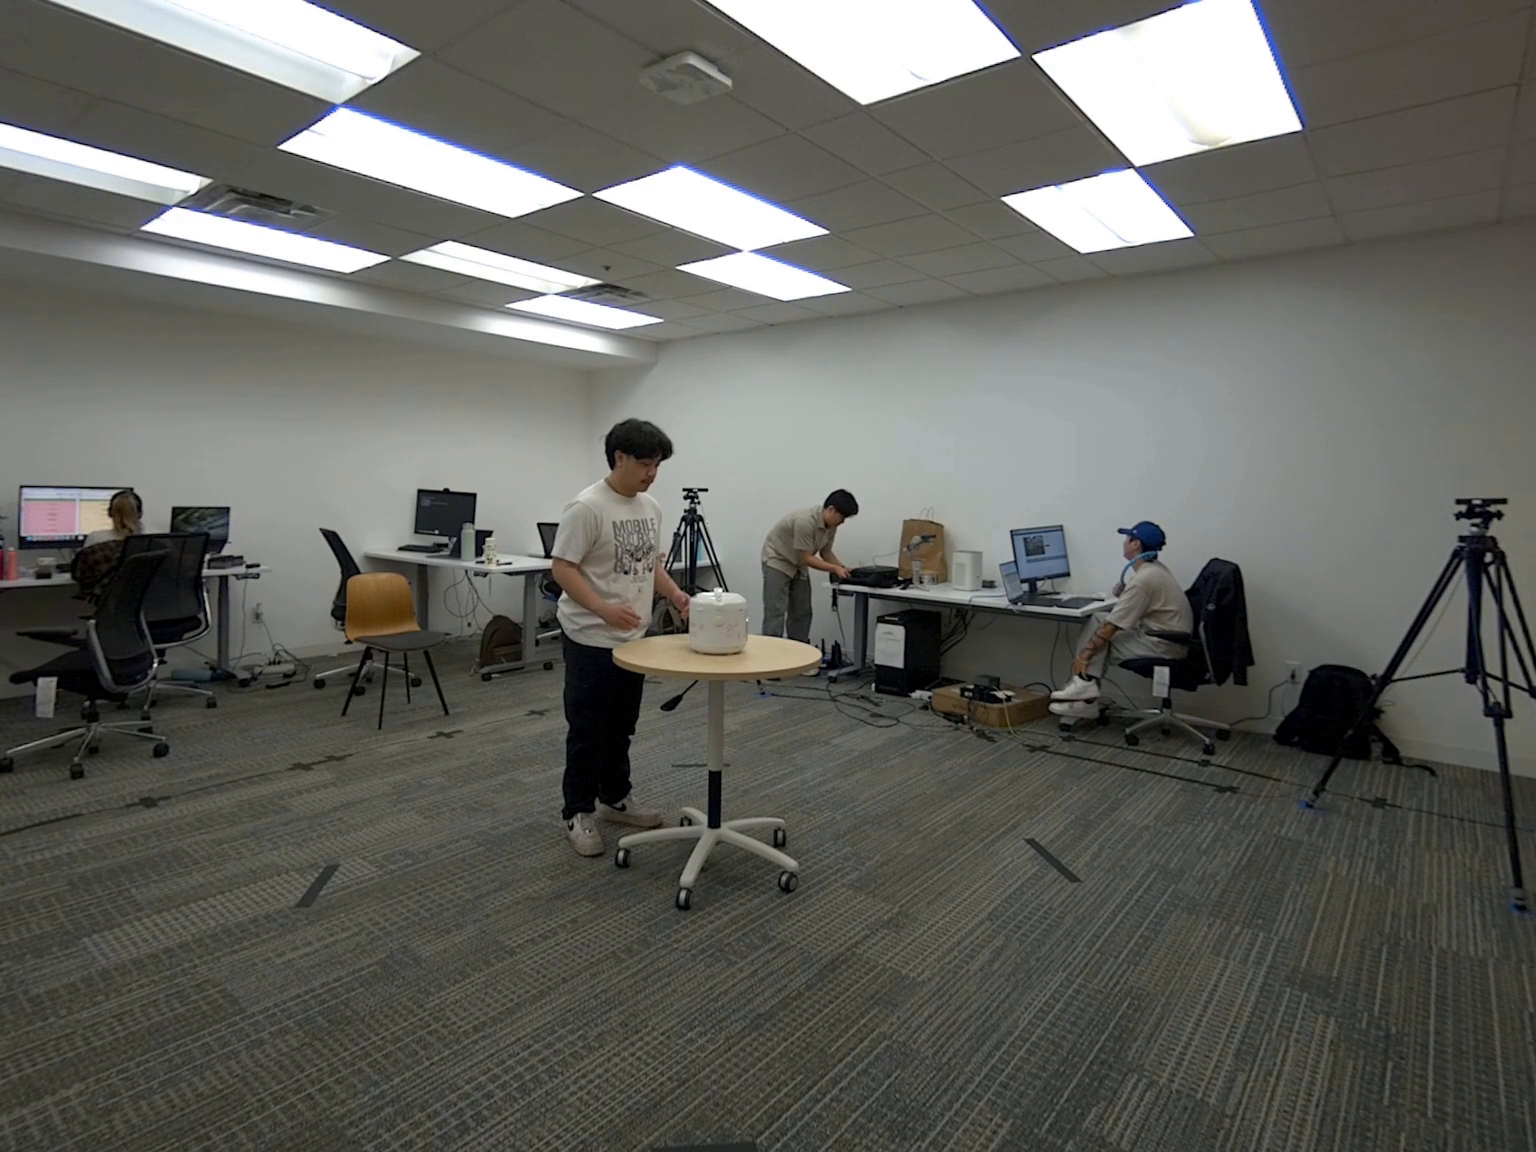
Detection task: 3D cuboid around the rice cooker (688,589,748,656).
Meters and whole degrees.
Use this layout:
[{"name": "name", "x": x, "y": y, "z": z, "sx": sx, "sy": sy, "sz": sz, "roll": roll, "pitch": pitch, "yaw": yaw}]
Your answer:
[{"name": "rice cooker", "x": -0.186, "y": 0.152, "z": 3.115, "sx": 0.217, "sy": 0.232, "sz": 0.222, "roll": 0, "pitch": 5, "yaw": -2}]
